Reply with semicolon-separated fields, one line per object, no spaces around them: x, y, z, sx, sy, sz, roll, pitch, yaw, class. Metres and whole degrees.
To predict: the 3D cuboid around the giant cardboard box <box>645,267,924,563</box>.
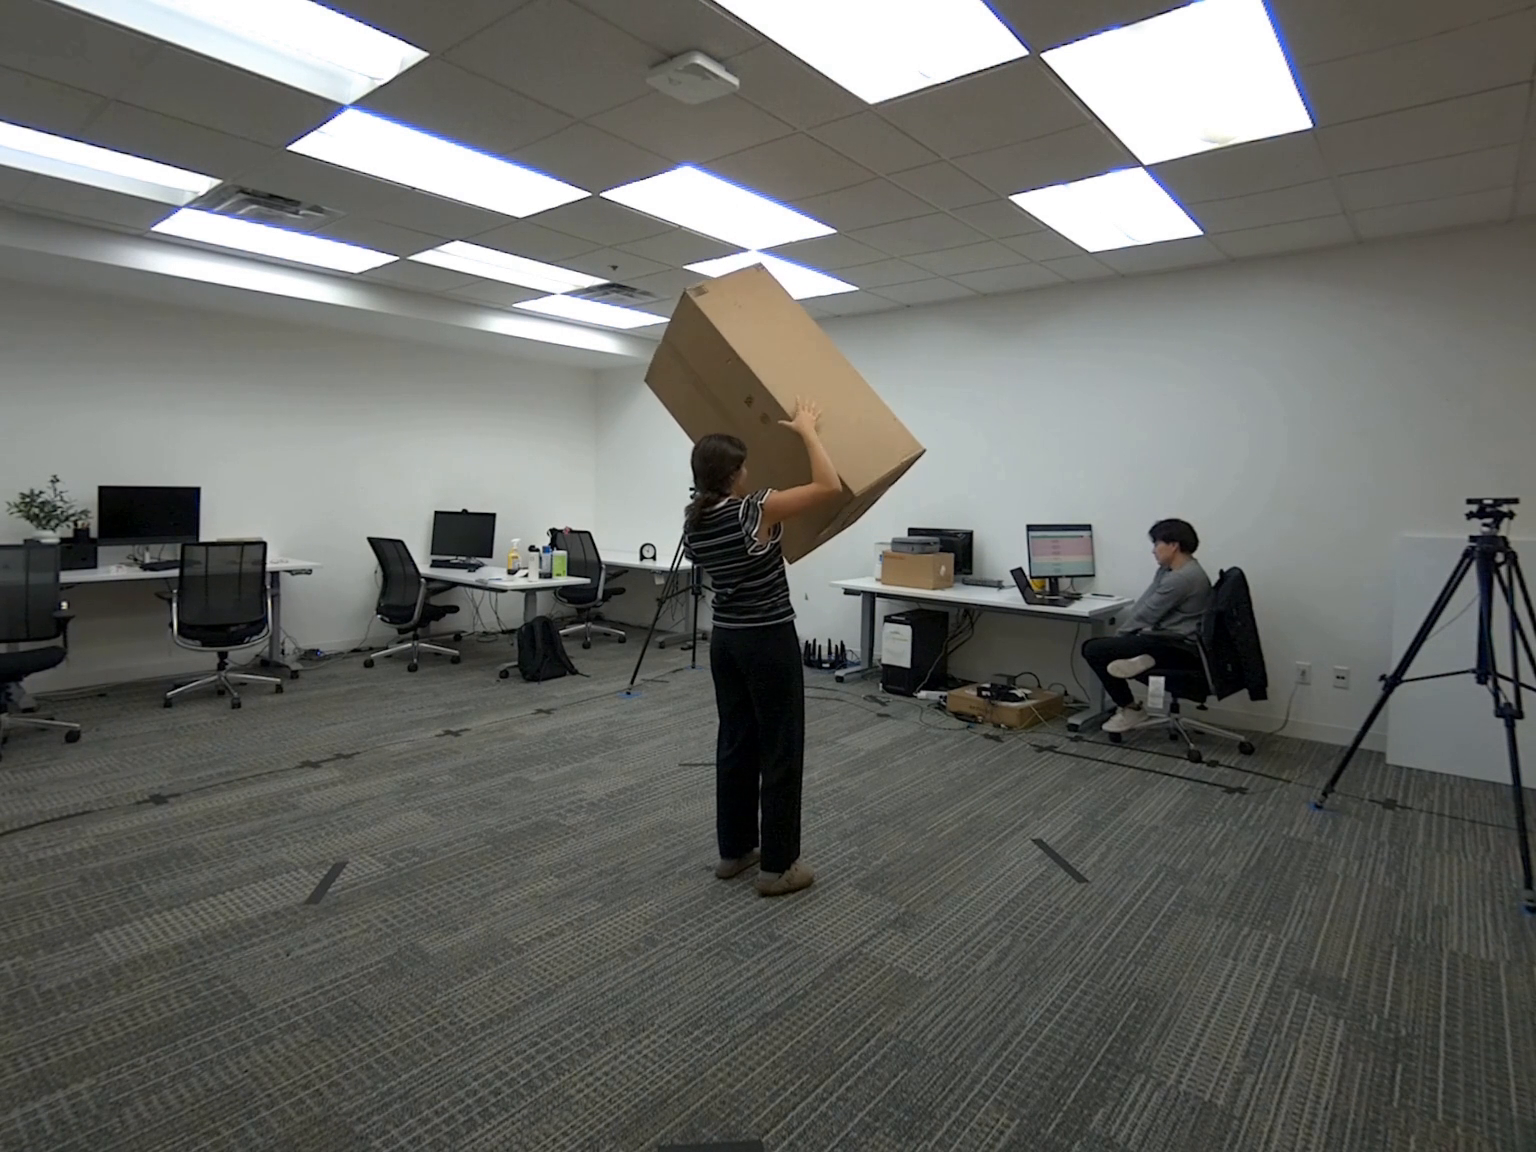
0.037;-0.651;3.428;0.421;1.042;0.575;-32;-12;-33;giant cardboard box
